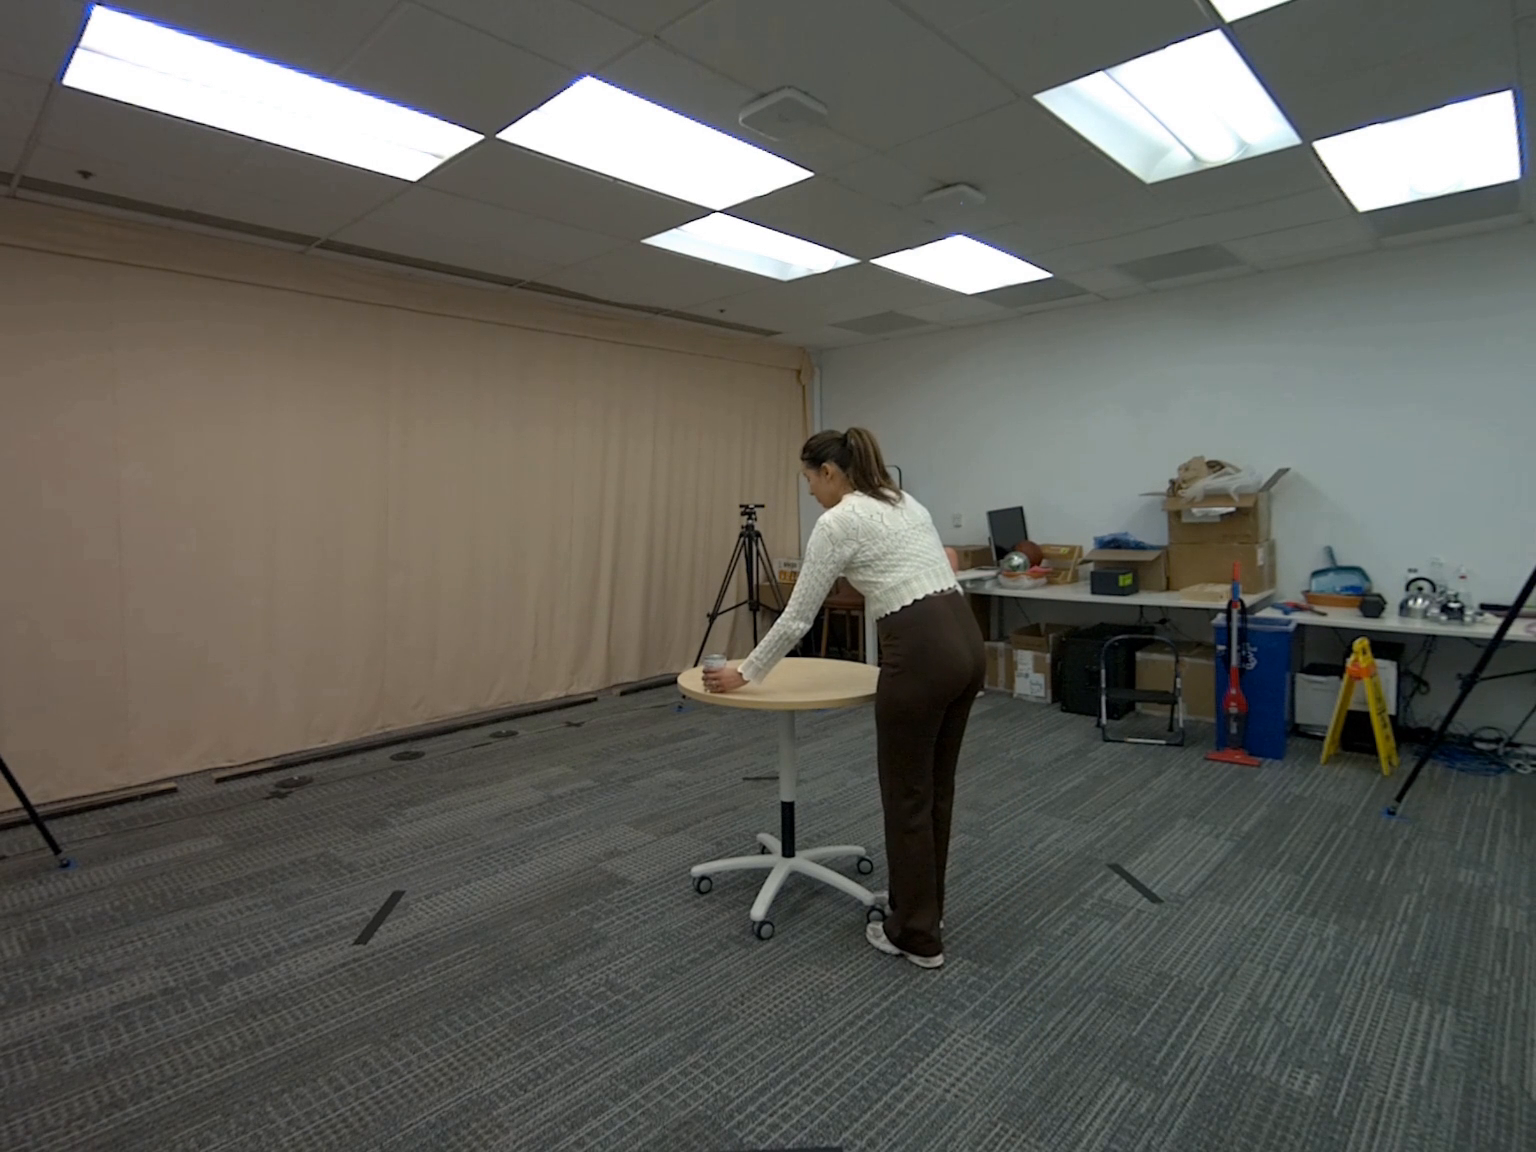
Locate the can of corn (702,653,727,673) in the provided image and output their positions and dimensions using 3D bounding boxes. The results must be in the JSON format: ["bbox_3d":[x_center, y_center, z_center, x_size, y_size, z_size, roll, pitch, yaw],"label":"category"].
[{"bbox_3d":[-0.161,0.322,2.751,0.074,0.111,0.074,-1,3,-2],"label":"can of corn"}]
